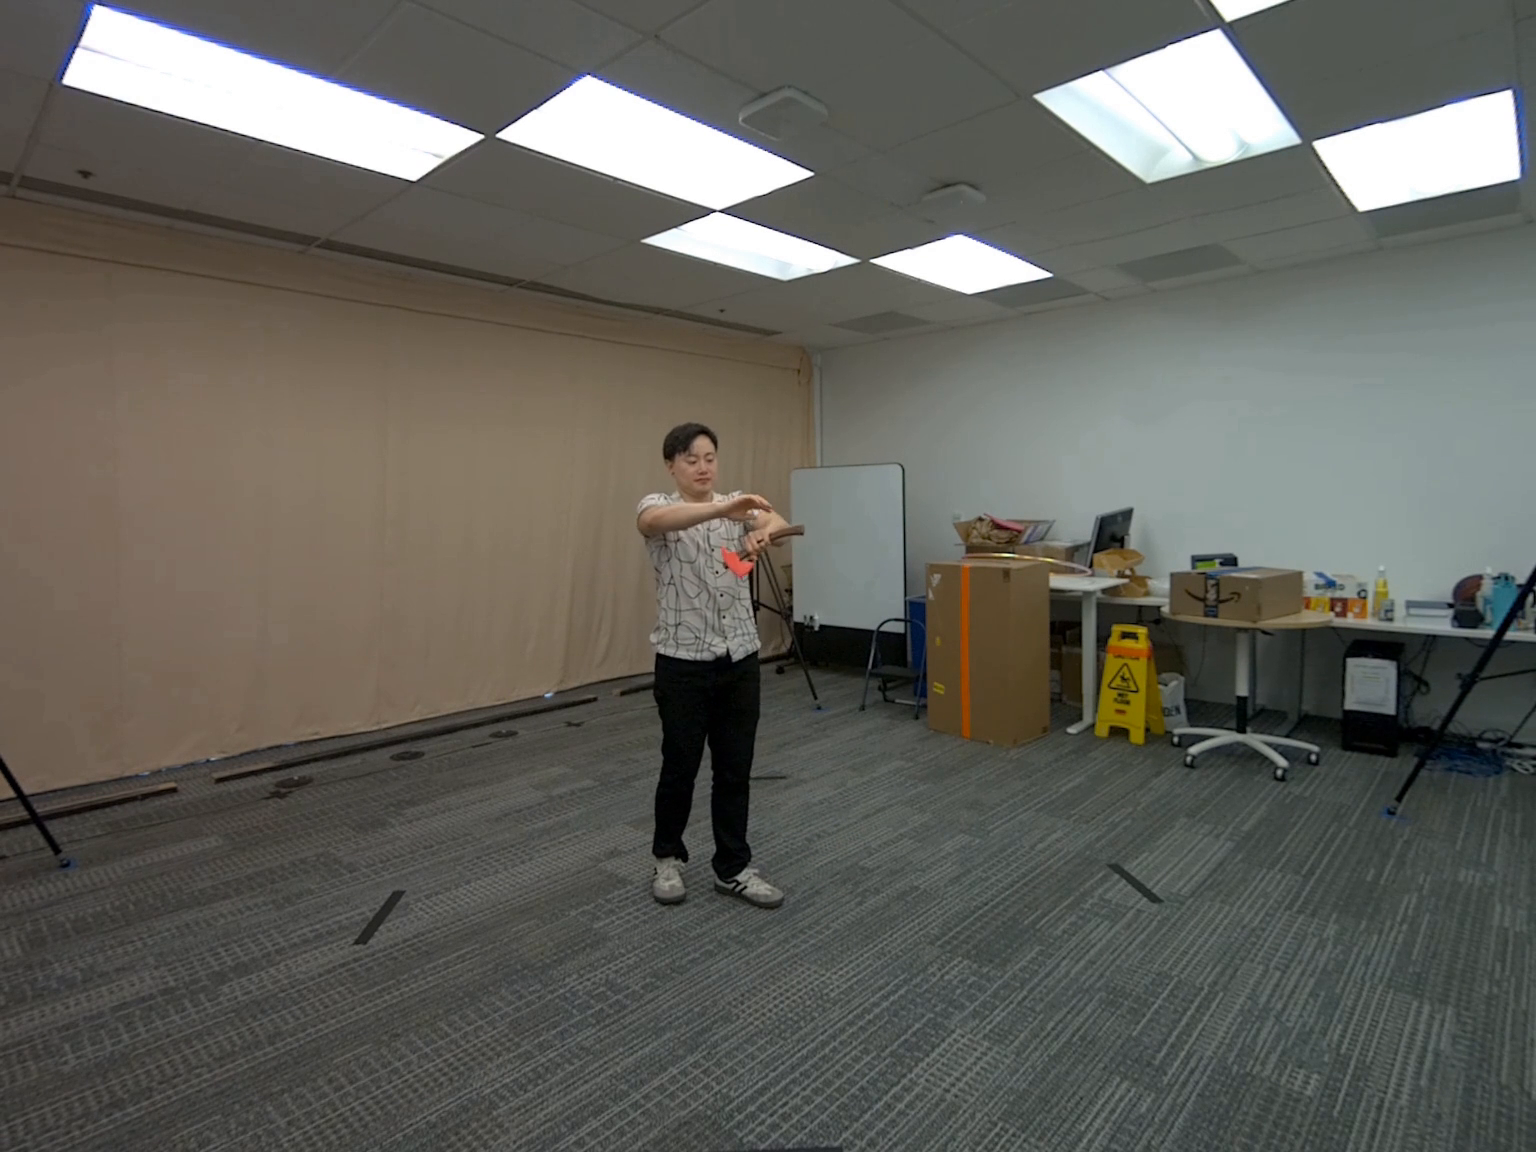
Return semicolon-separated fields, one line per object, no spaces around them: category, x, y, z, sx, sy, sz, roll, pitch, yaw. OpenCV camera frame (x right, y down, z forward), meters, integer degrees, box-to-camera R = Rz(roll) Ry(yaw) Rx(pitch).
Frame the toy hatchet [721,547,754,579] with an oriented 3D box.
toy hatchet;-0.003;-0.065;2.565;0.273;0.133;0.029;-12;-37;13
